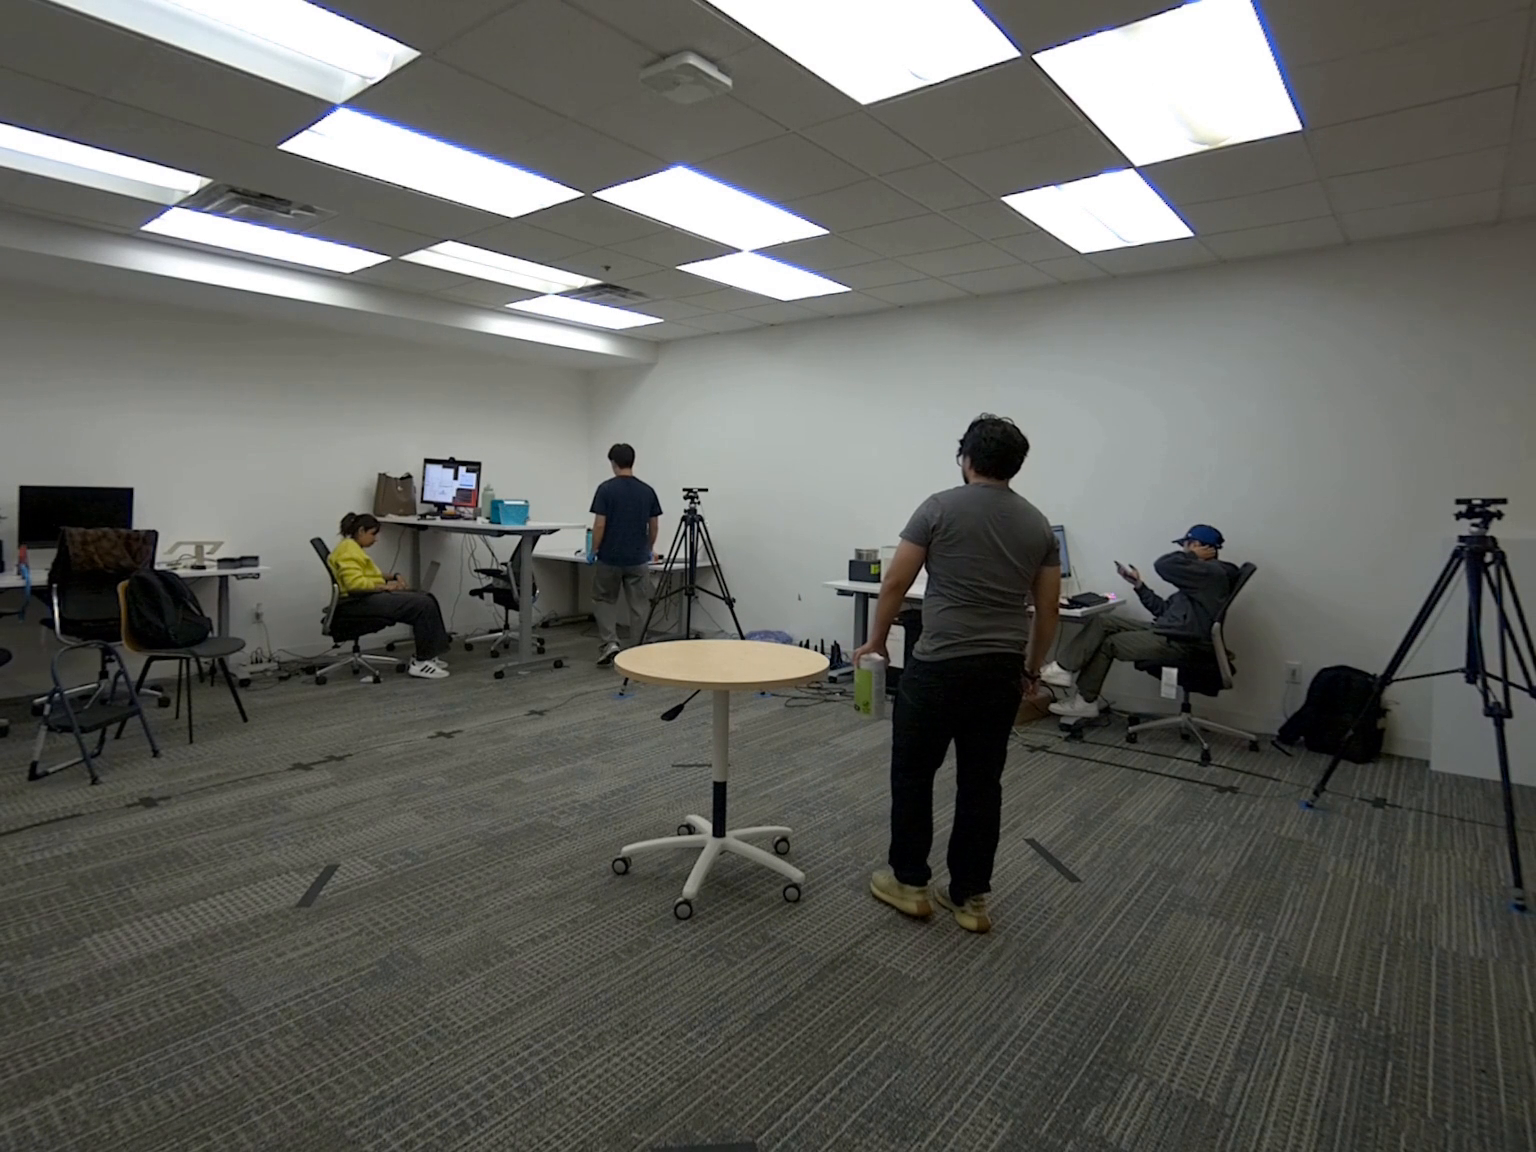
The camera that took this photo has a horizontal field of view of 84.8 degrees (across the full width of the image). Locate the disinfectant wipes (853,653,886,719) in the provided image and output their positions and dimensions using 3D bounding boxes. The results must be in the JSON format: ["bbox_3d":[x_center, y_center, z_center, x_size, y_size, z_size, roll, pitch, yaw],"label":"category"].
[{"bbox_3d":[0.357,0.398,3.022,0.118,0.215,0.119,-1,9,-2],"label":"disinfectant wipes"}]
